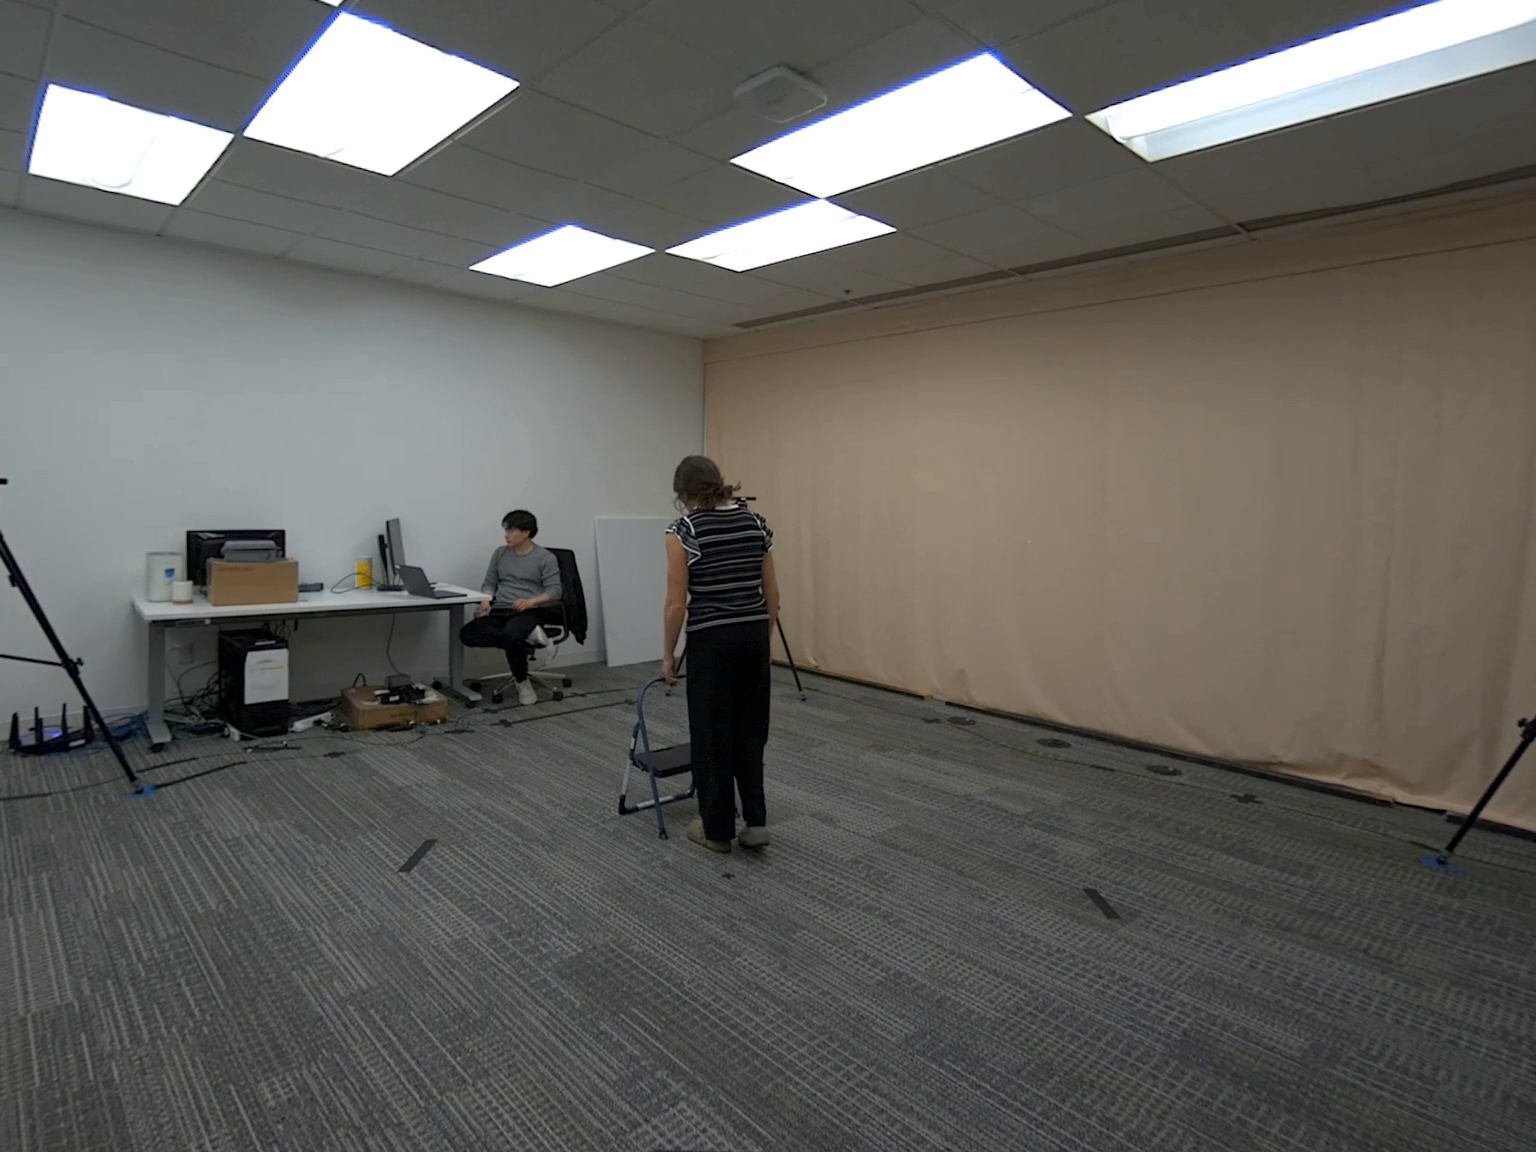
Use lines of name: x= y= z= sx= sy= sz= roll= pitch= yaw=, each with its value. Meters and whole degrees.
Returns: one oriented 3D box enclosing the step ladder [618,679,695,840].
step ladder: x=-0.393 y=0.752 z=3.681 sx=0.420 sy=0.605 sz=0.358 roll=-1 pitch=4 yaw=-43
